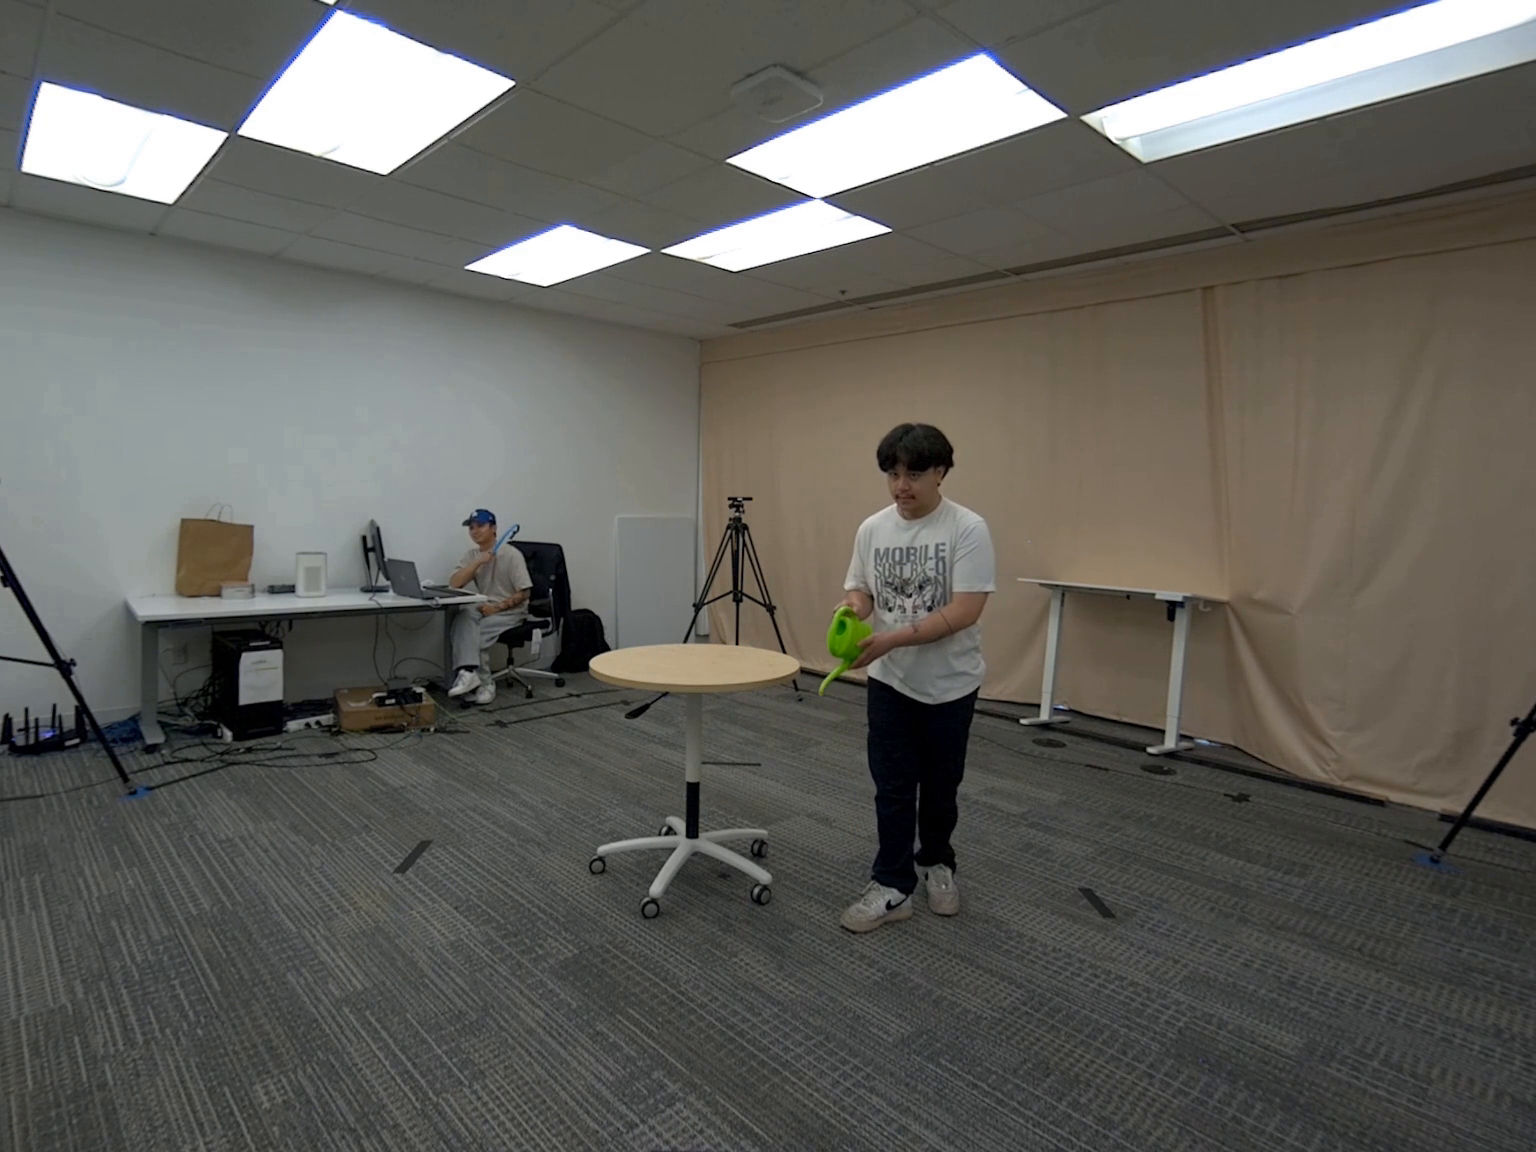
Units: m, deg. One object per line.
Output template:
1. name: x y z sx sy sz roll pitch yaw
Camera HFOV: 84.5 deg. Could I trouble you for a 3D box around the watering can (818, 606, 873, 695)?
1. watering can: 0.229 0.238 2.626 0.101 0.278 0.171 18 -4 43
